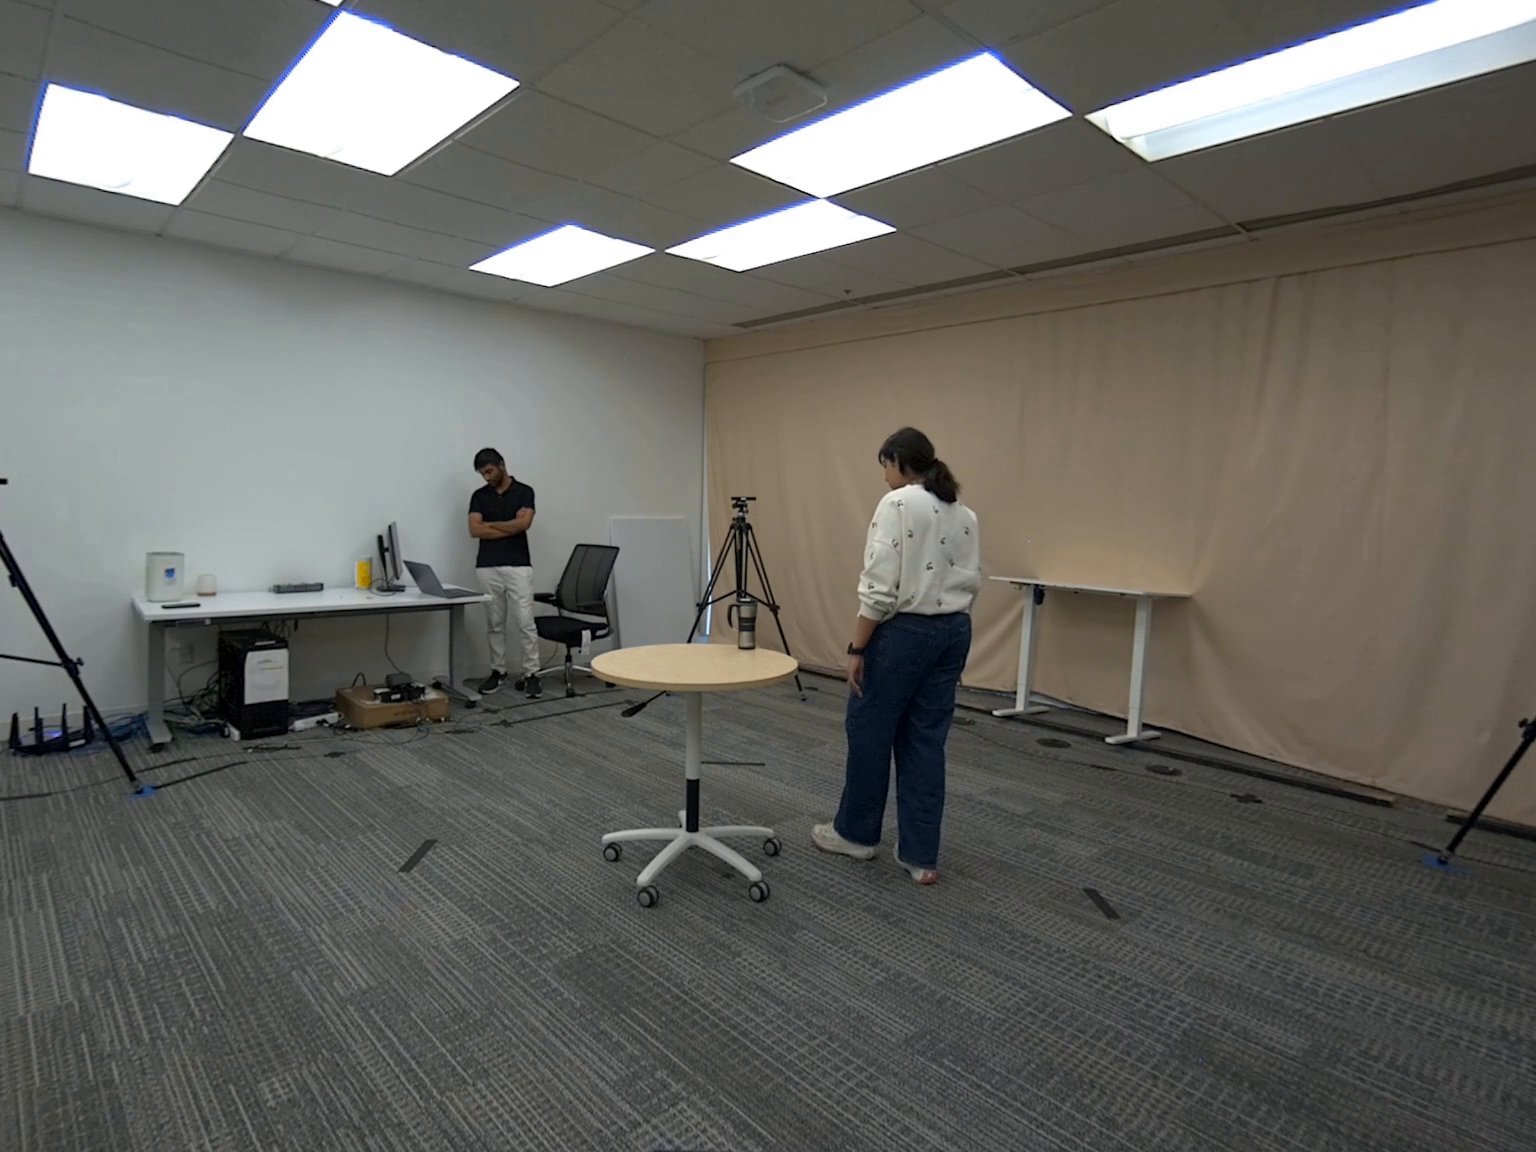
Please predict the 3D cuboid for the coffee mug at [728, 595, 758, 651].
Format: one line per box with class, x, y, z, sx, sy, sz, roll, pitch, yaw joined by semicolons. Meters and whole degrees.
coffee mug;-0.109;0.192;3.416;0.123;0.202;0.088;4;8;8
